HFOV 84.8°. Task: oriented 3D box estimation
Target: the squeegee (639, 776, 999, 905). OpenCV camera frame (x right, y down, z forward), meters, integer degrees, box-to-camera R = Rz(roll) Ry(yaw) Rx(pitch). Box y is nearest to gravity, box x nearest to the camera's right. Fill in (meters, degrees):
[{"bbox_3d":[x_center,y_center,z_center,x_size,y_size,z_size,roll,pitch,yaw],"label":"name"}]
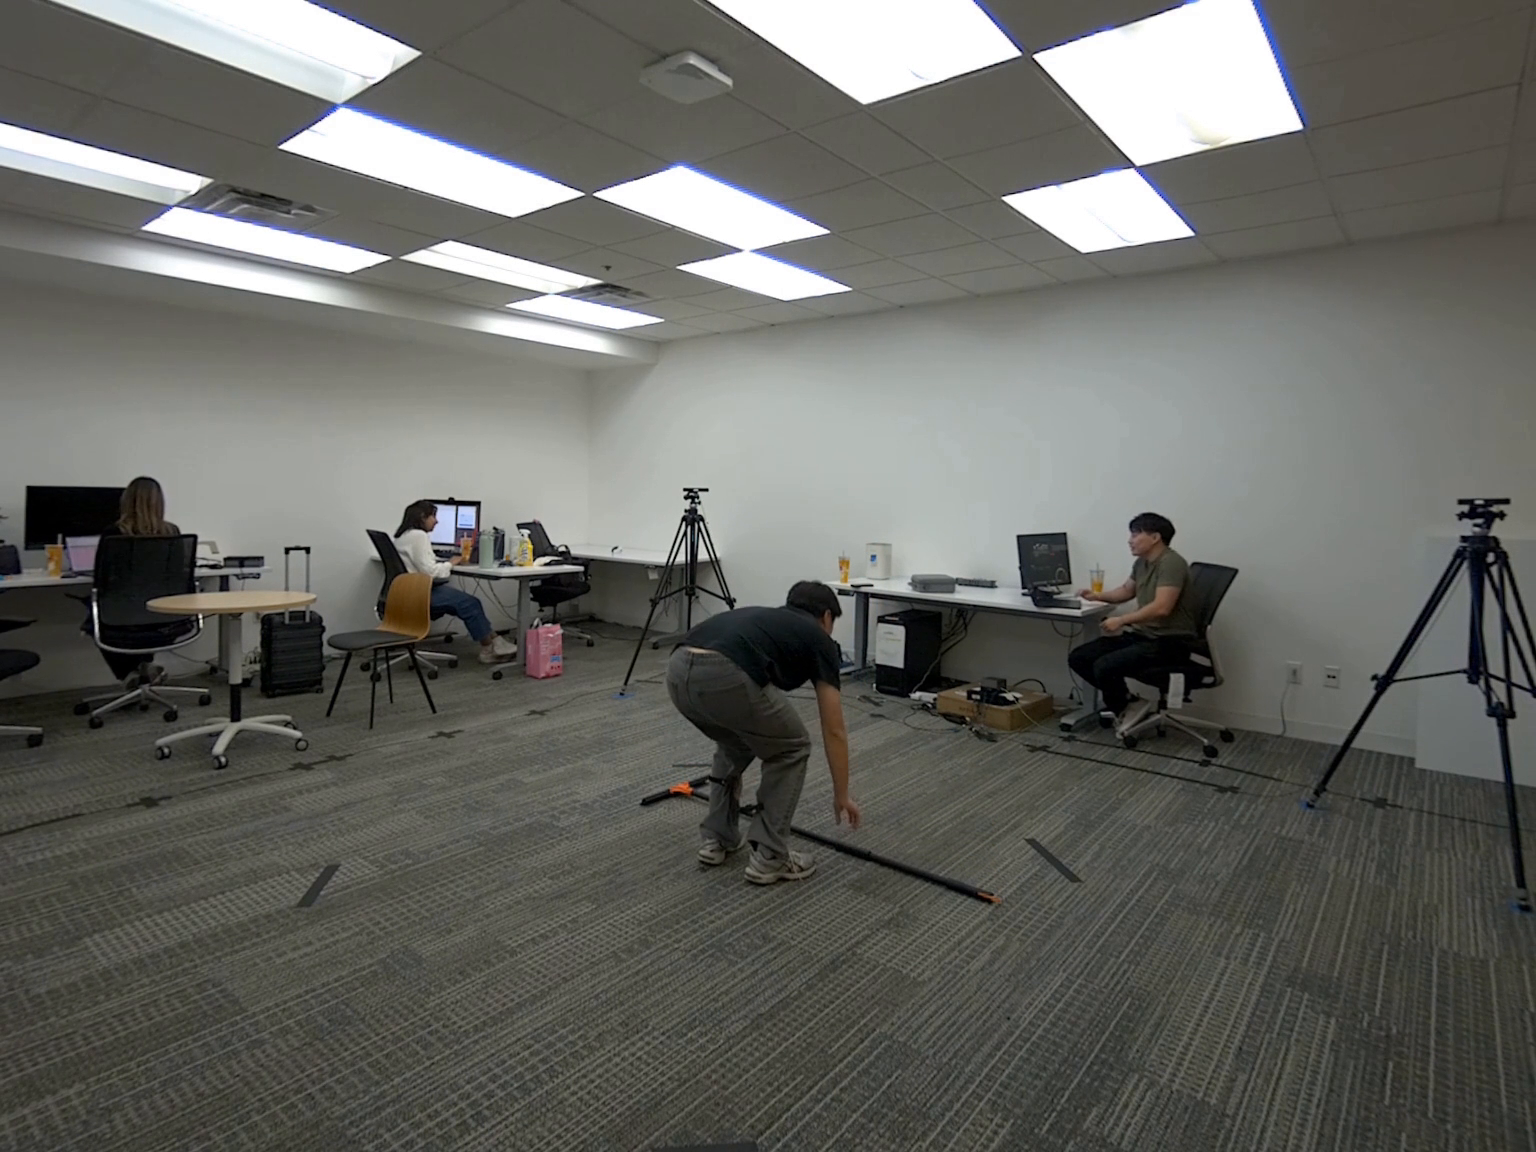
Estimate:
[{"bbox_3d":[0.164,1.015,3.389,1.591,0.052,0.425,7,10,39],"label":"squeegee"}]
